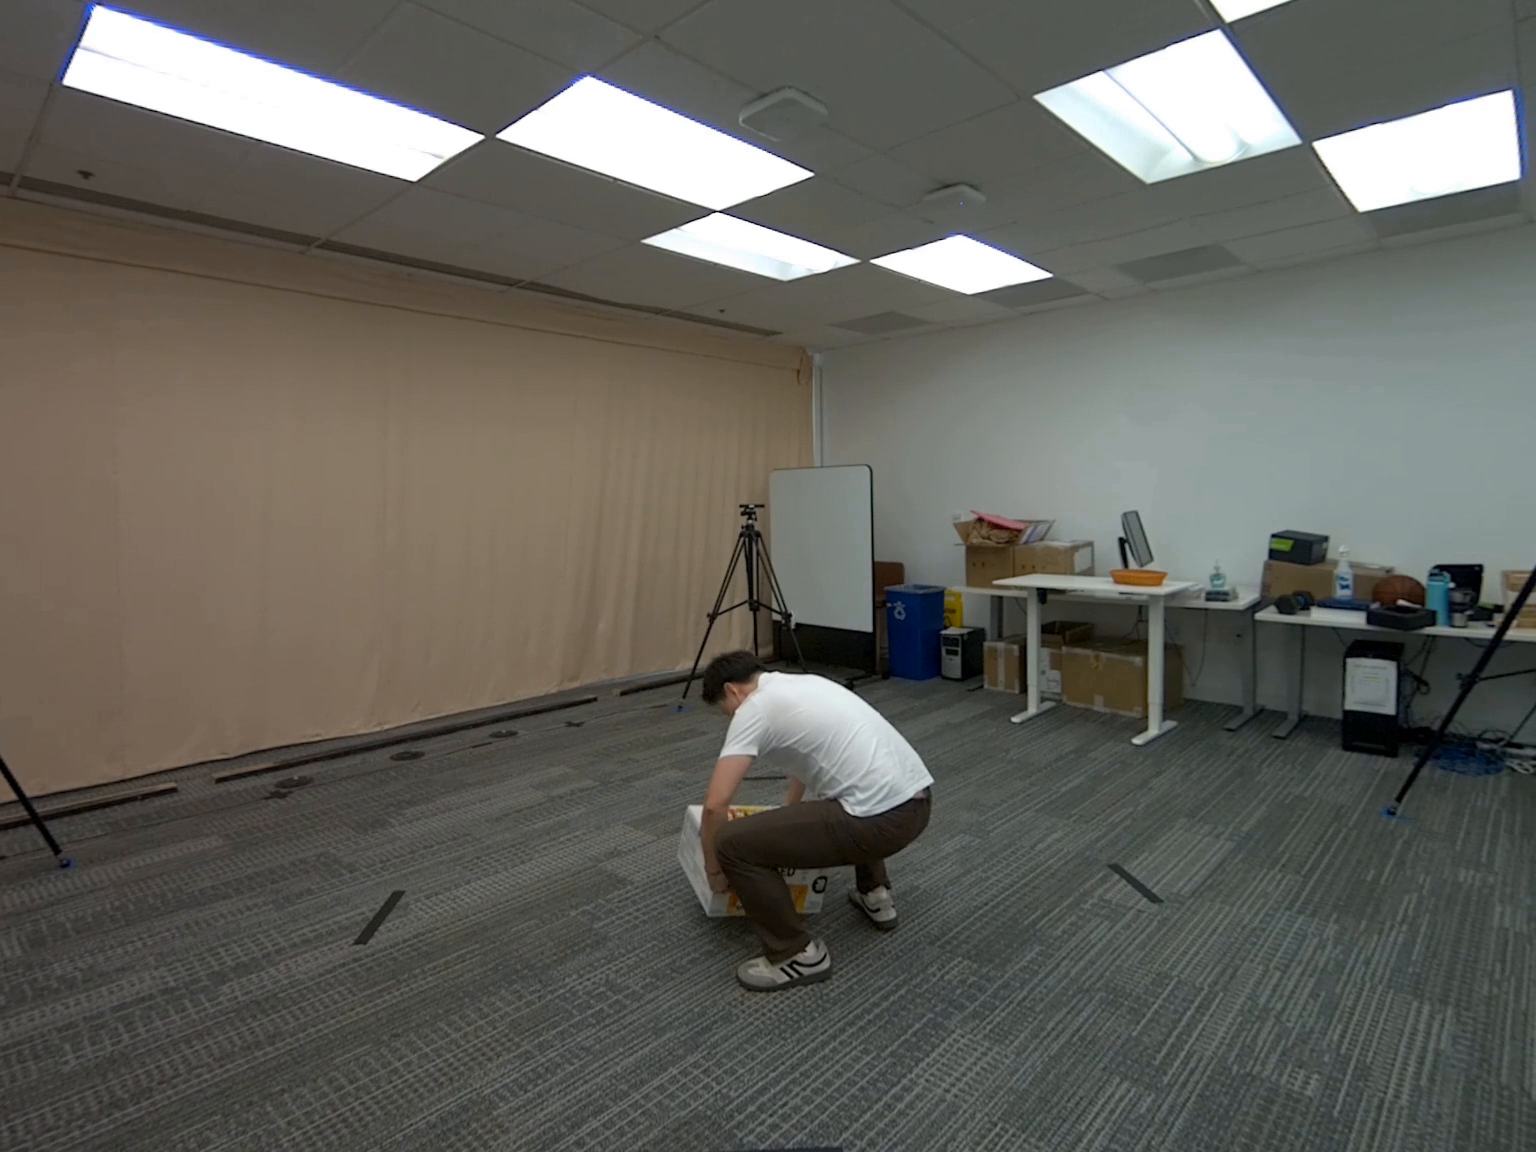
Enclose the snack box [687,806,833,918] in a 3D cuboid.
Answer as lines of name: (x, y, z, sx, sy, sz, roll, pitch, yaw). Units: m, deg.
snack box: (-0.051, 0.946, 2.857, 0.396, 0.205, 0.350, 7, 11, -23)
